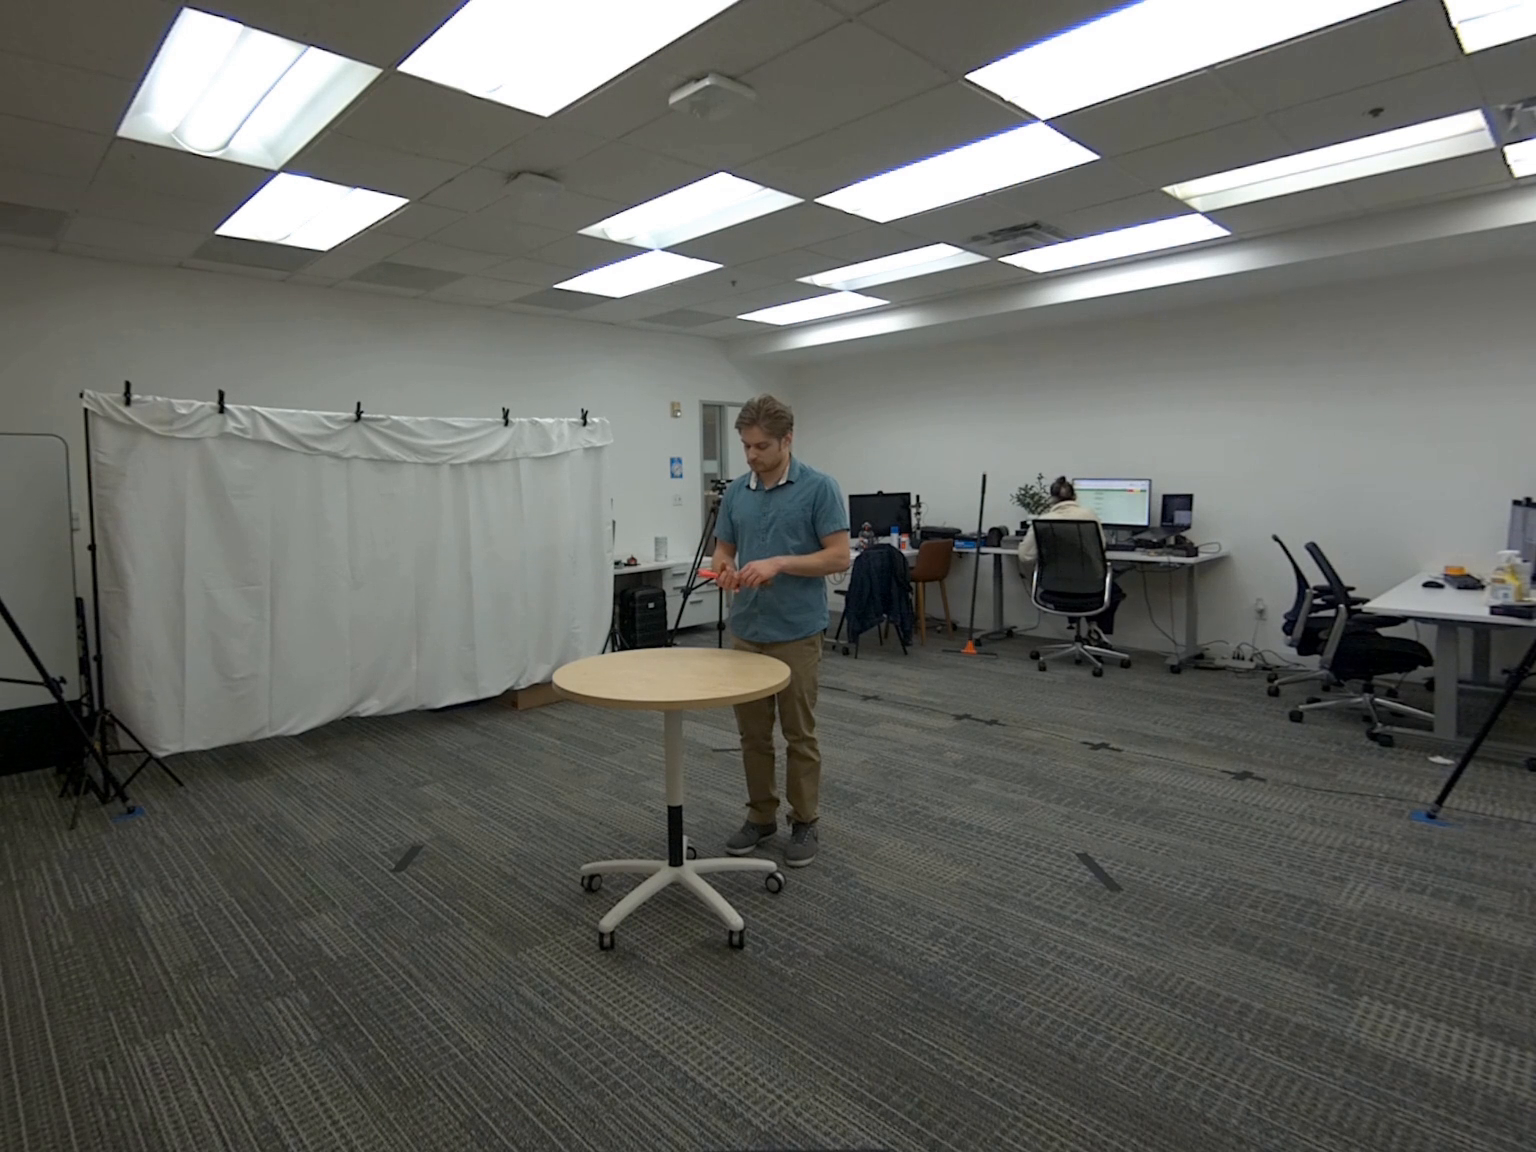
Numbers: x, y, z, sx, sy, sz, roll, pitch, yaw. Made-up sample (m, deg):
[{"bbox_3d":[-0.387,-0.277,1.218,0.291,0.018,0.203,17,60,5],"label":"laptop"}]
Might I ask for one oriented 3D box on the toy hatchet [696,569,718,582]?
[{"bbox_3d":[-0.116,0.004,2.975,0.274,0.029,0.129,6,-1,14],"label":"toy hatchet"}]
